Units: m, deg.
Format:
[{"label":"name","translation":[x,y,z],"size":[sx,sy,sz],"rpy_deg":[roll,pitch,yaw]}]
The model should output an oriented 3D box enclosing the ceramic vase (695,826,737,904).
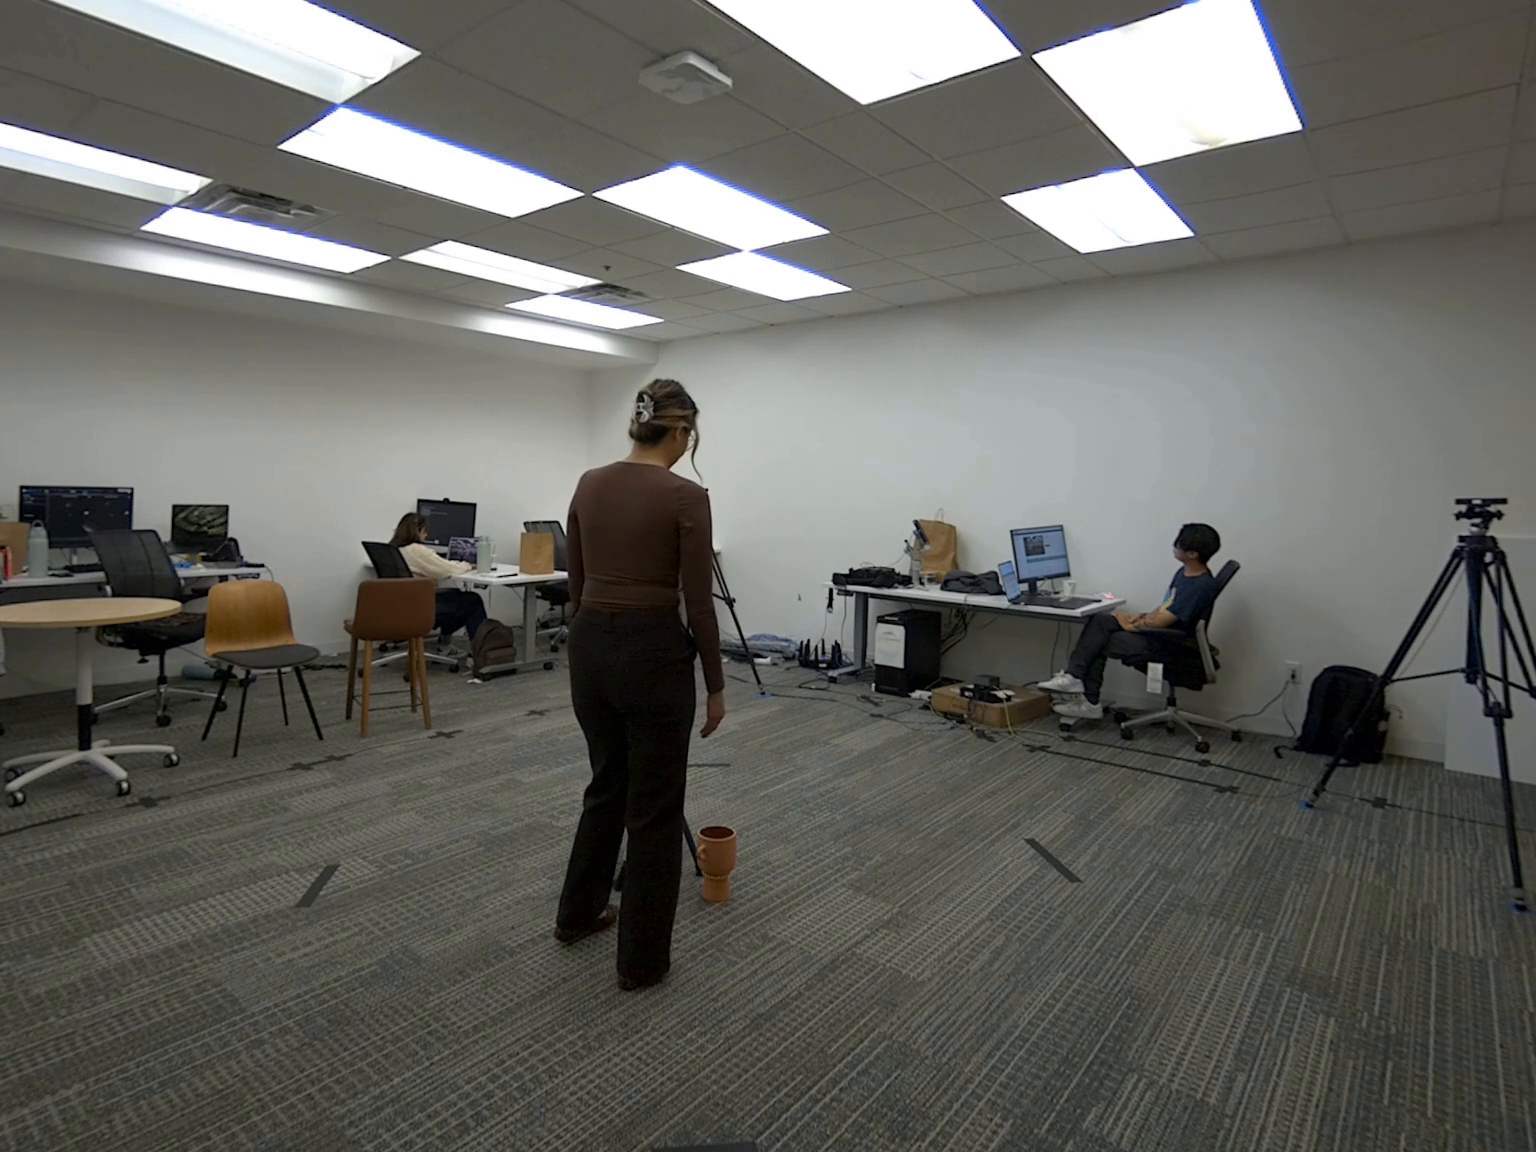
[{"label":"ceramic vase","translation":[-0.185,0.974,2.900],"size":[0.156,0.219,0.137],"rpy_deg":[0,3,-16]}]
